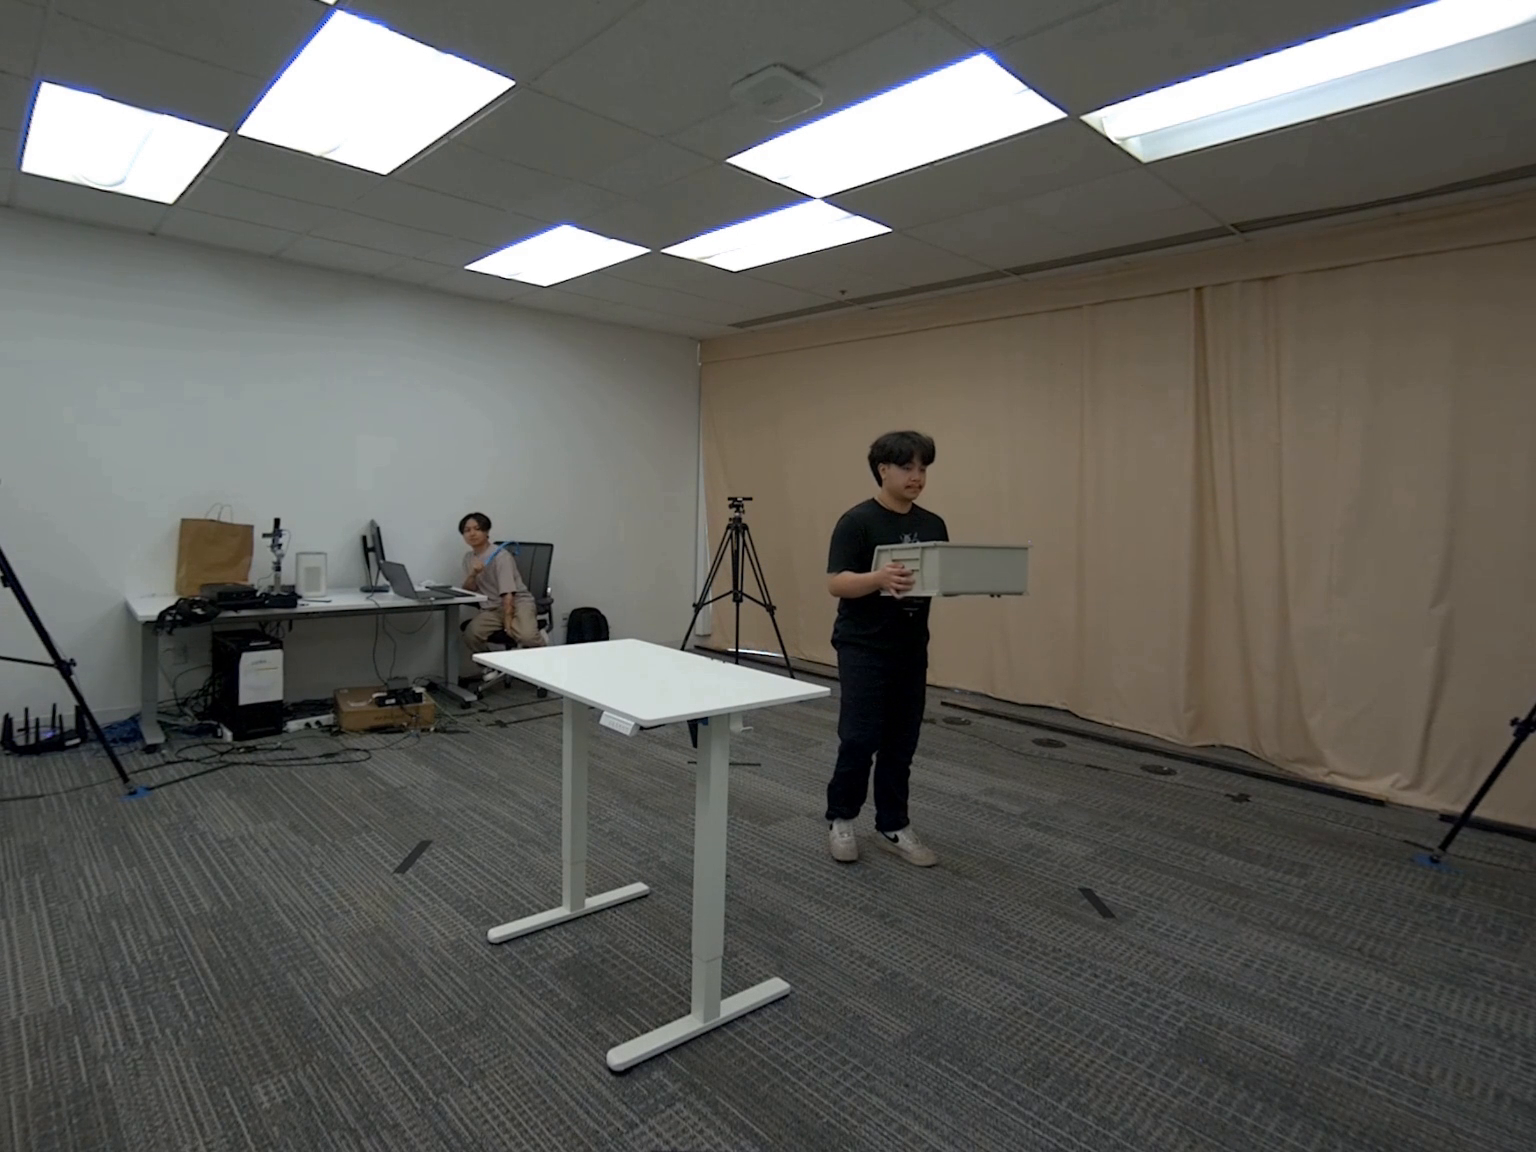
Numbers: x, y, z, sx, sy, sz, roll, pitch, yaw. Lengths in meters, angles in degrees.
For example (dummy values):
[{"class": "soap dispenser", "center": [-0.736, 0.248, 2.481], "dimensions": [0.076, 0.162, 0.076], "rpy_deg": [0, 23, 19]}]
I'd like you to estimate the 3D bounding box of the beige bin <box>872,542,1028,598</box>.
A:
[{"class": "beige bin", "center": [0.644, -0.020, 2.995], "dimensions": [0.415, 0.189, 0.384], "rpy_deg": [0, 1, -25]}]
